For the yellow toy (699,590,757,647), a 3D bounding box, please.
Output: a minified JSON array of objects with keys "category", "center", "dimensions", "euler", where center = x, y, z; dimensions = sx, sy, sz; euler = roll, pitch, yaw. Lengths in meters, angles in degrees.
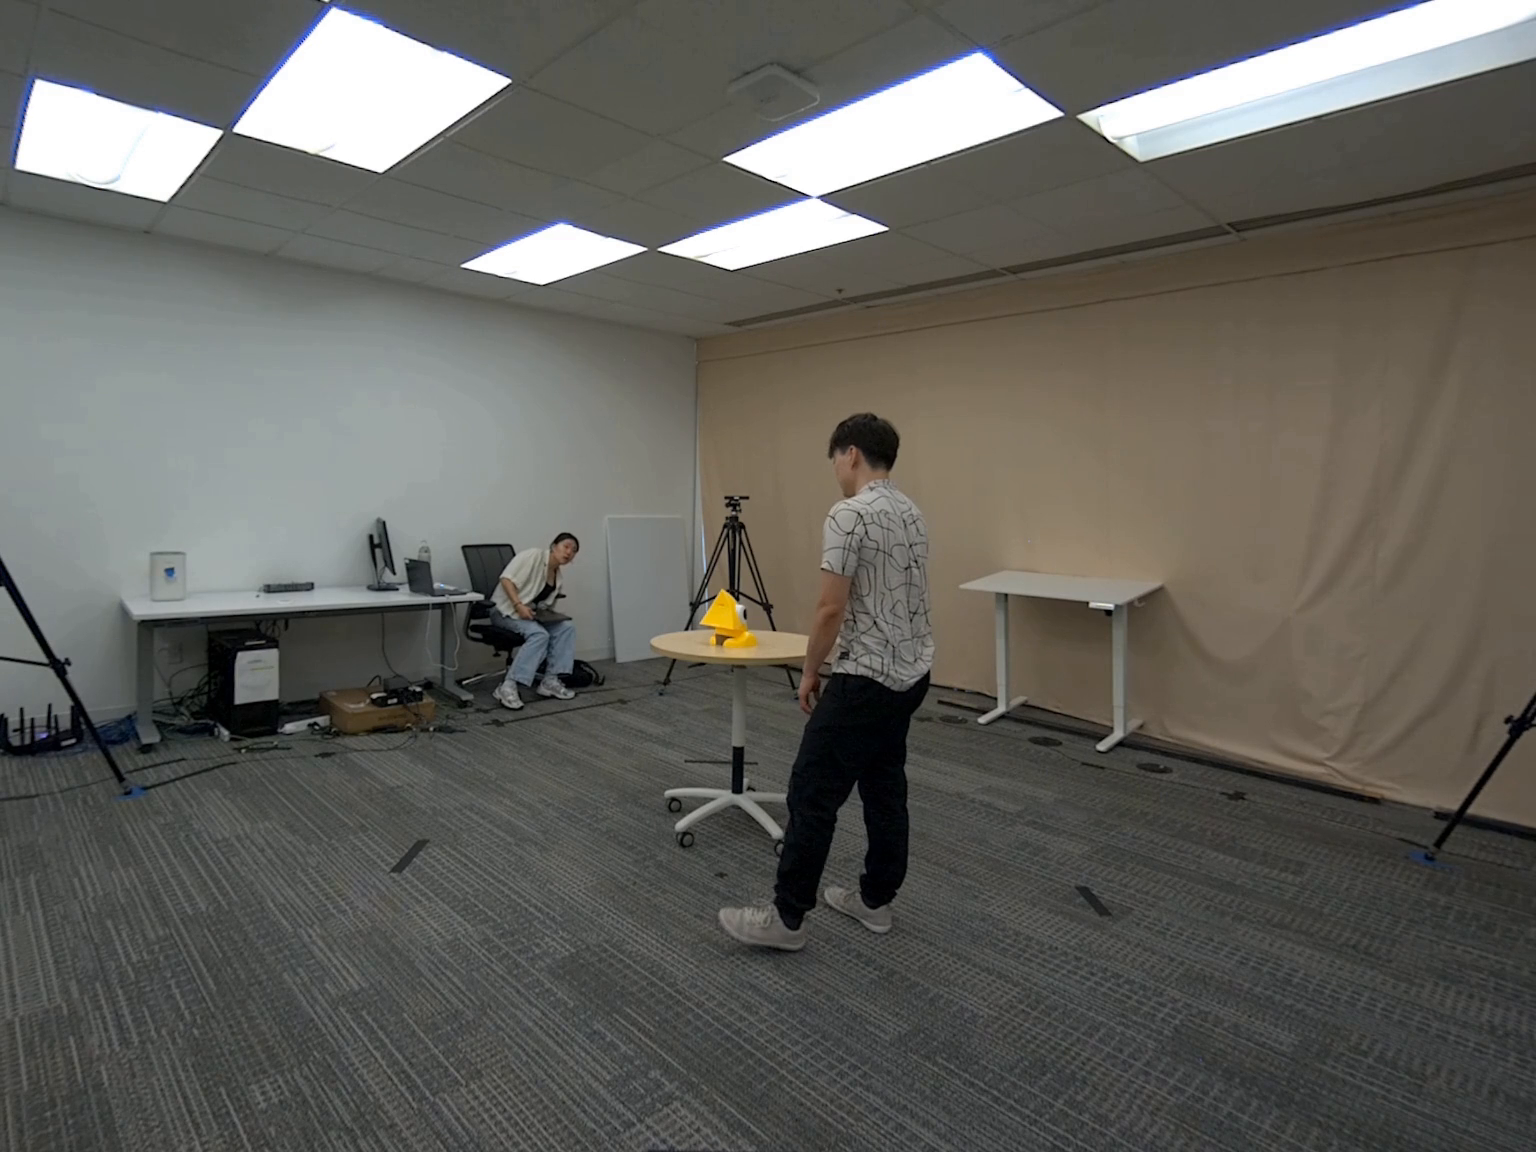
[{"category":"yellow toy","center":[-0.157,0.171,3.513],"dimensions":[0.188,0.230,0.210],"euler":[0,2,-44]}]
